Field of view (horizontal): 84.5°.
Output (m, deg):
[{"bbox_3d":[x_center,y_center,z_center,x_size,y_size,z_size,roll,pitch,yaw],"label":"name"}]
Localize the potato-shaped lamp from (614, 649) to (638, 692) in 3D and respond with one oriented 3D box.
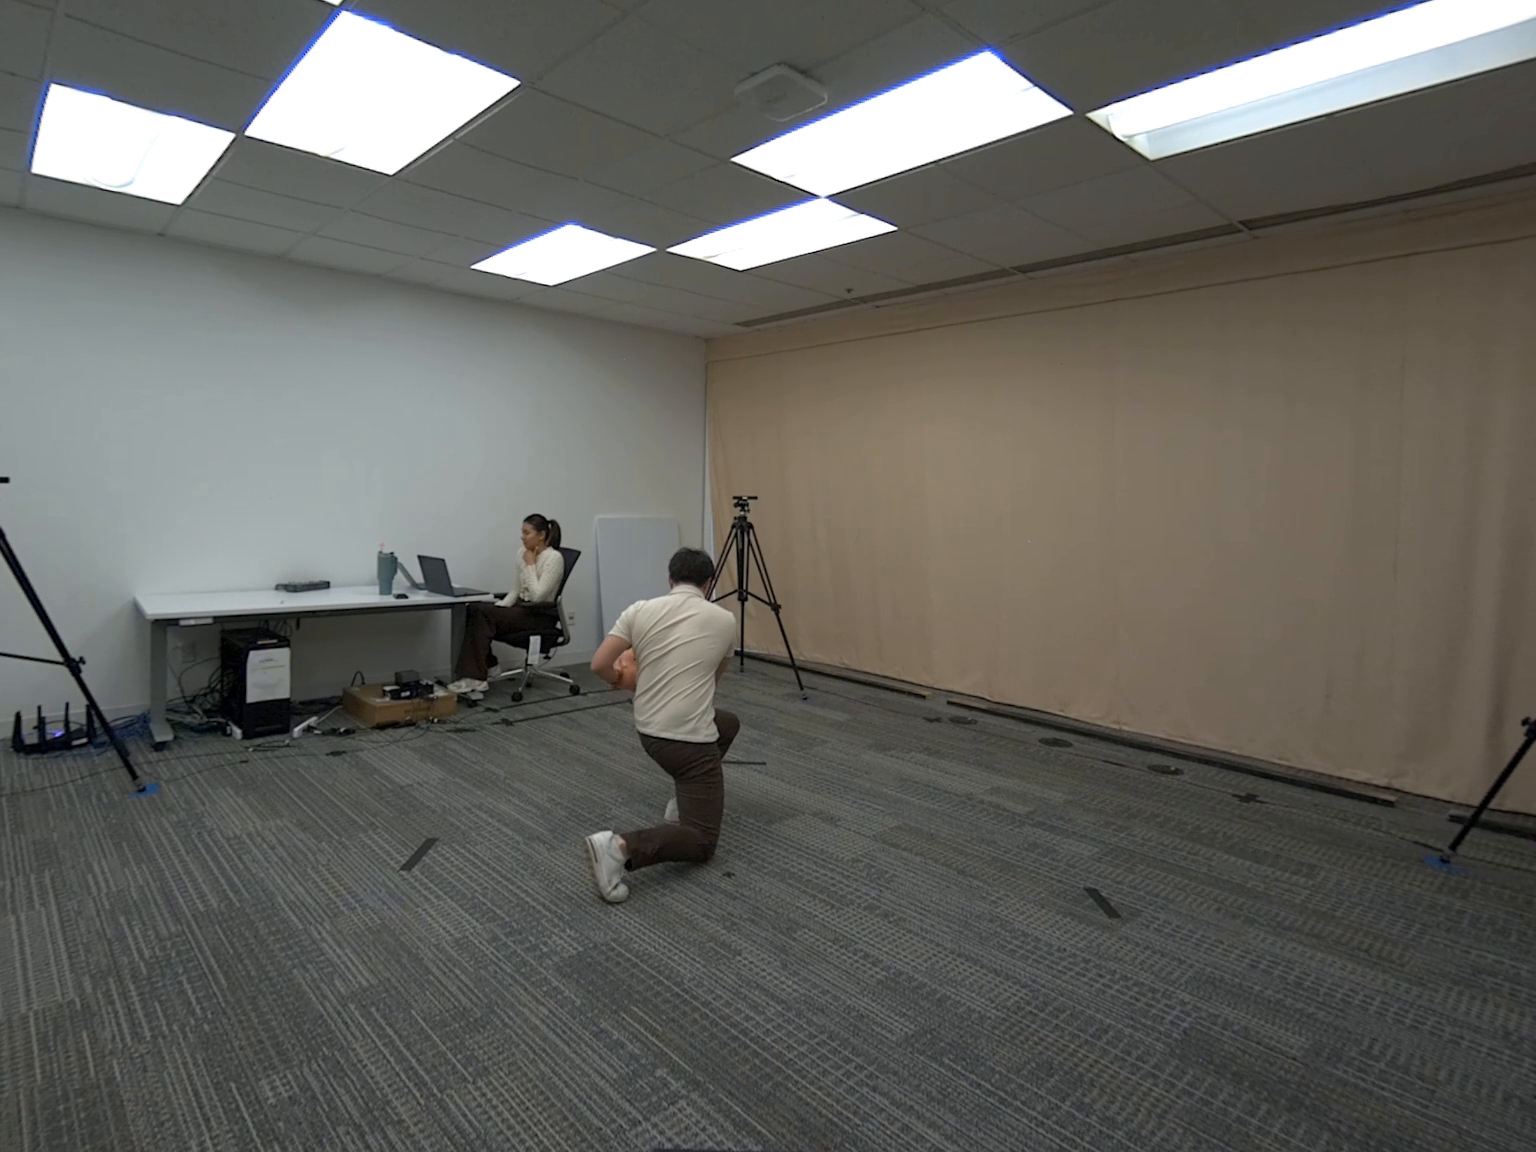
[{"bbox_3d":[-0.589,0.402,3.754,0.162,0.198,0.174,14,-2,-18],"label":"potato-shaped lamp"}]
